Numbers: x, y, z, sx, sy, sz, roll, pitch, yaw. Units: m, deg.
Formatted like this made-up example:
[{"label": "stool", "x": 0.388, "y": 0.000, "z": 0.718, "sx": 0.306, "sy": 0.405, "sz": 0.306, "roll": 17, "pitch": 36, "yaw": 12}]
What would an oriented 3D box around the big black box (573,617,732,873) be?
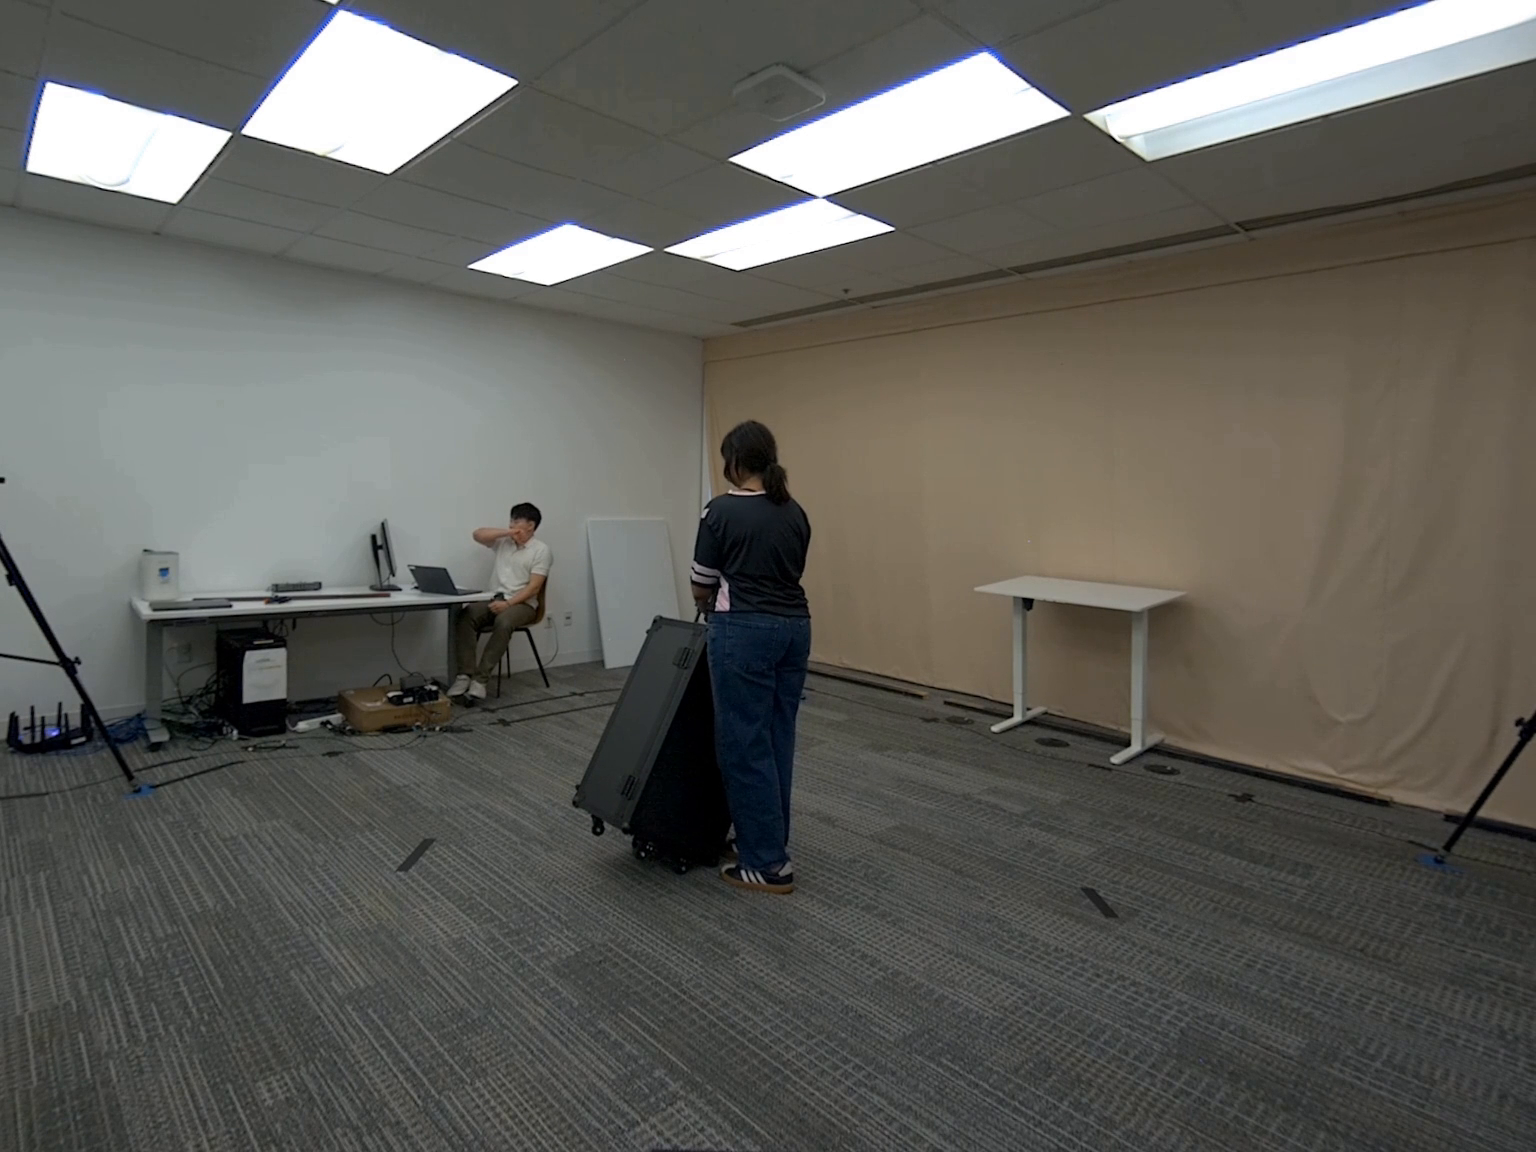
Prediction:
[{"label": "big black box", "x": -0.353, "y": 0.657, "z": 3.258, "sx": 0.395, "sy": 0.874, "sz": 0.507, "roll": 5, "pitch": -24, "yaw": 45}]
